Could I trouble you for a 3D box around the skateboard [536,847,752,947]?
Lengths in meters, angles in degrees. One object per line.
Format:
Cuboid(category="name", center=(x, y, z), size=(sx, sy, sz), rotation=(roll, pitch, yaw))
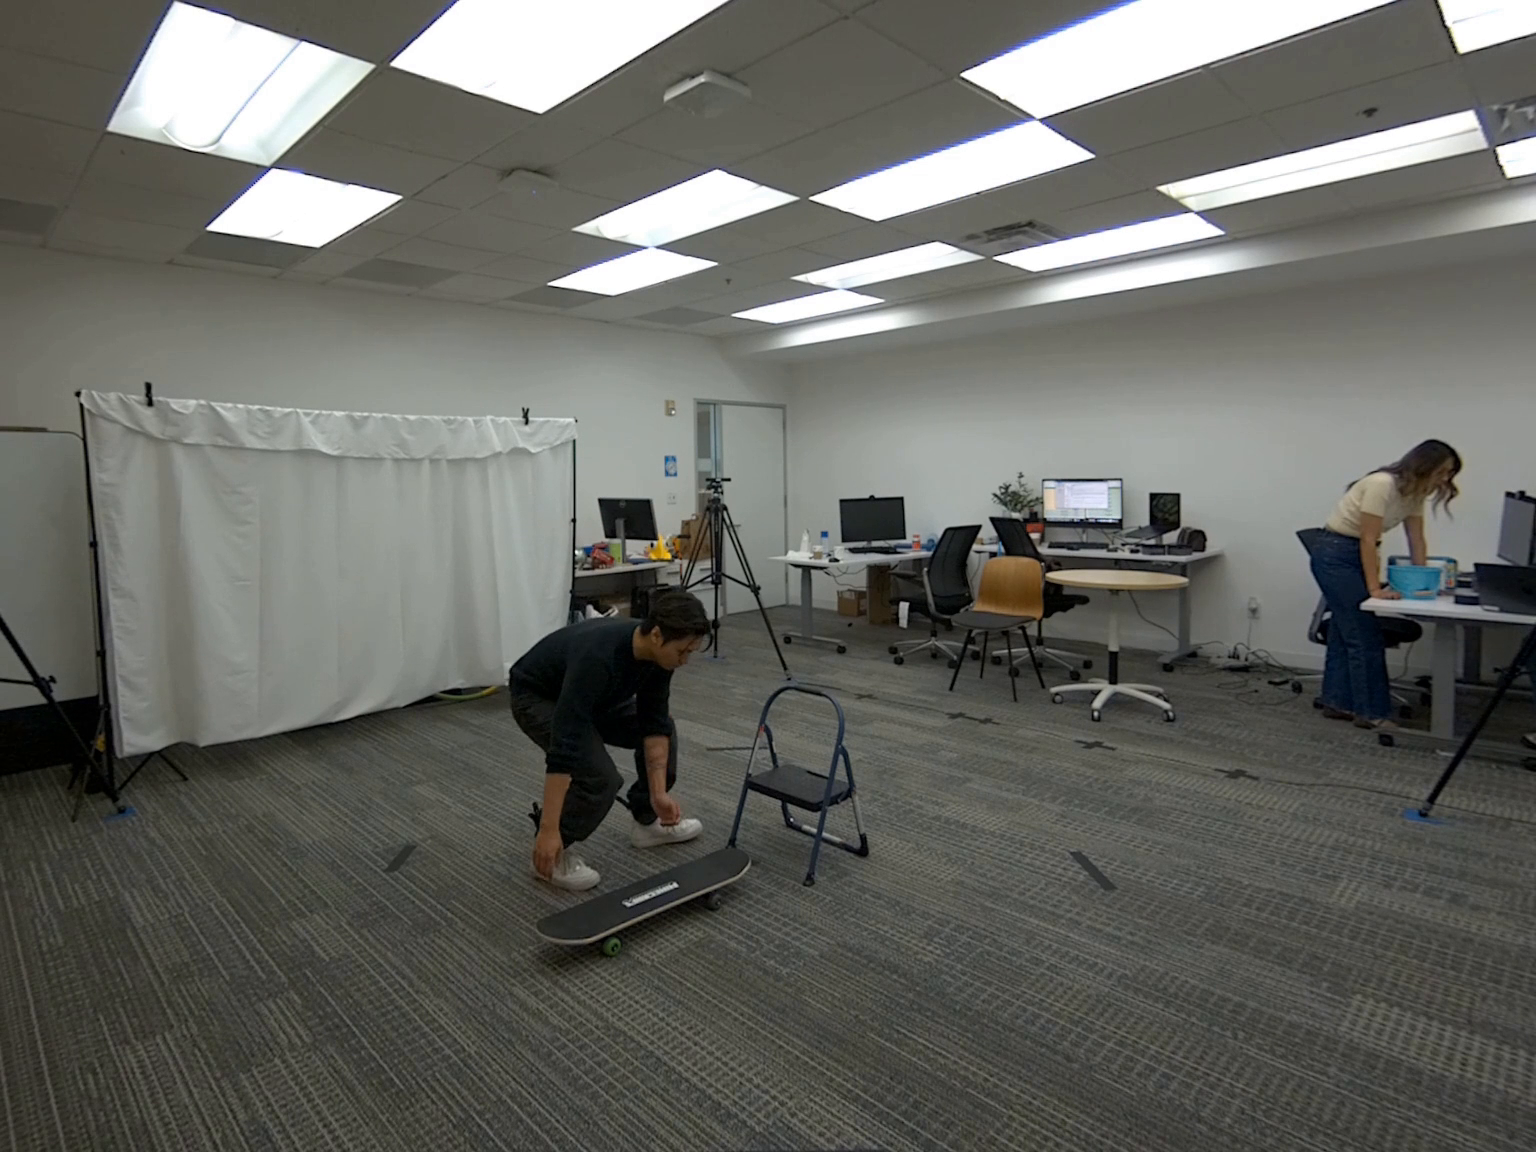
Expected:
Cuboid(category="skateboard", center=(-0.370, 1.038, 2.711), size=(0.765, 0.110, 0.199), rotation=(-7, 9, -41))
